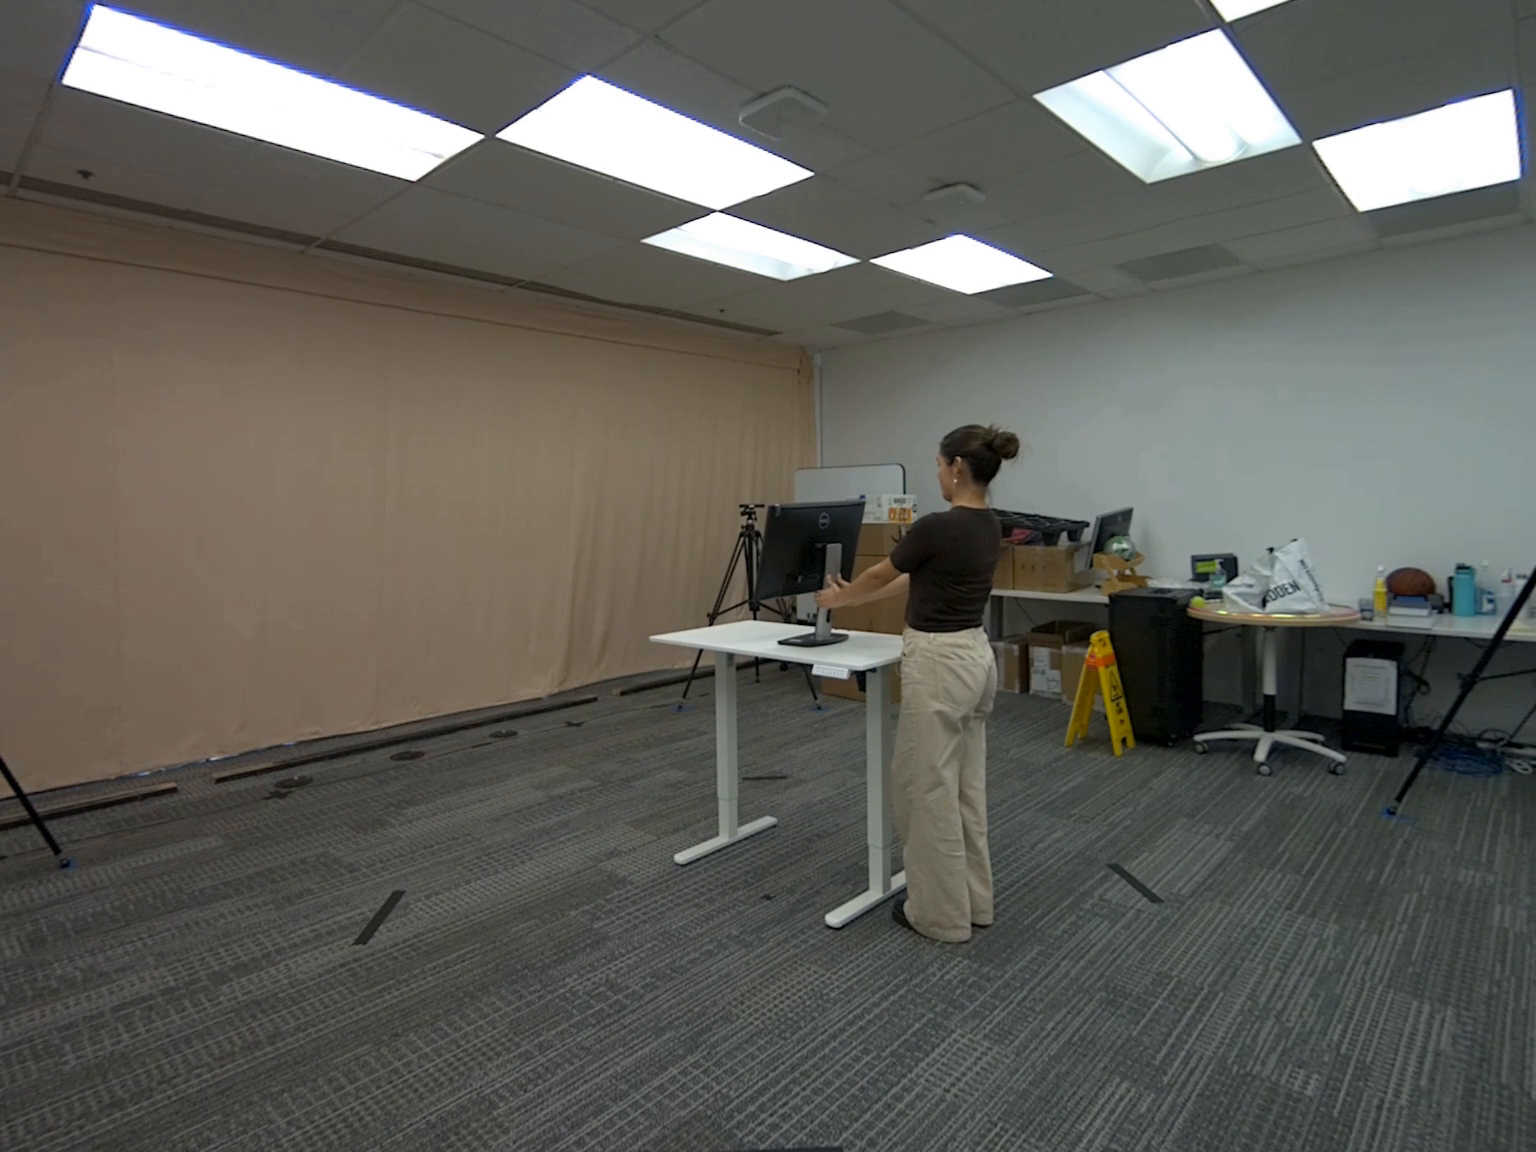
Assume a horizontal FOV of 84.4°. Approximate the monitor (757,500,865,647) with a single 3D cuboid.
[{"bbox_3d":[0.185,-0.010,3.095,0.193,0.521,0.523,4,7,43],"label":"monitor"}]
